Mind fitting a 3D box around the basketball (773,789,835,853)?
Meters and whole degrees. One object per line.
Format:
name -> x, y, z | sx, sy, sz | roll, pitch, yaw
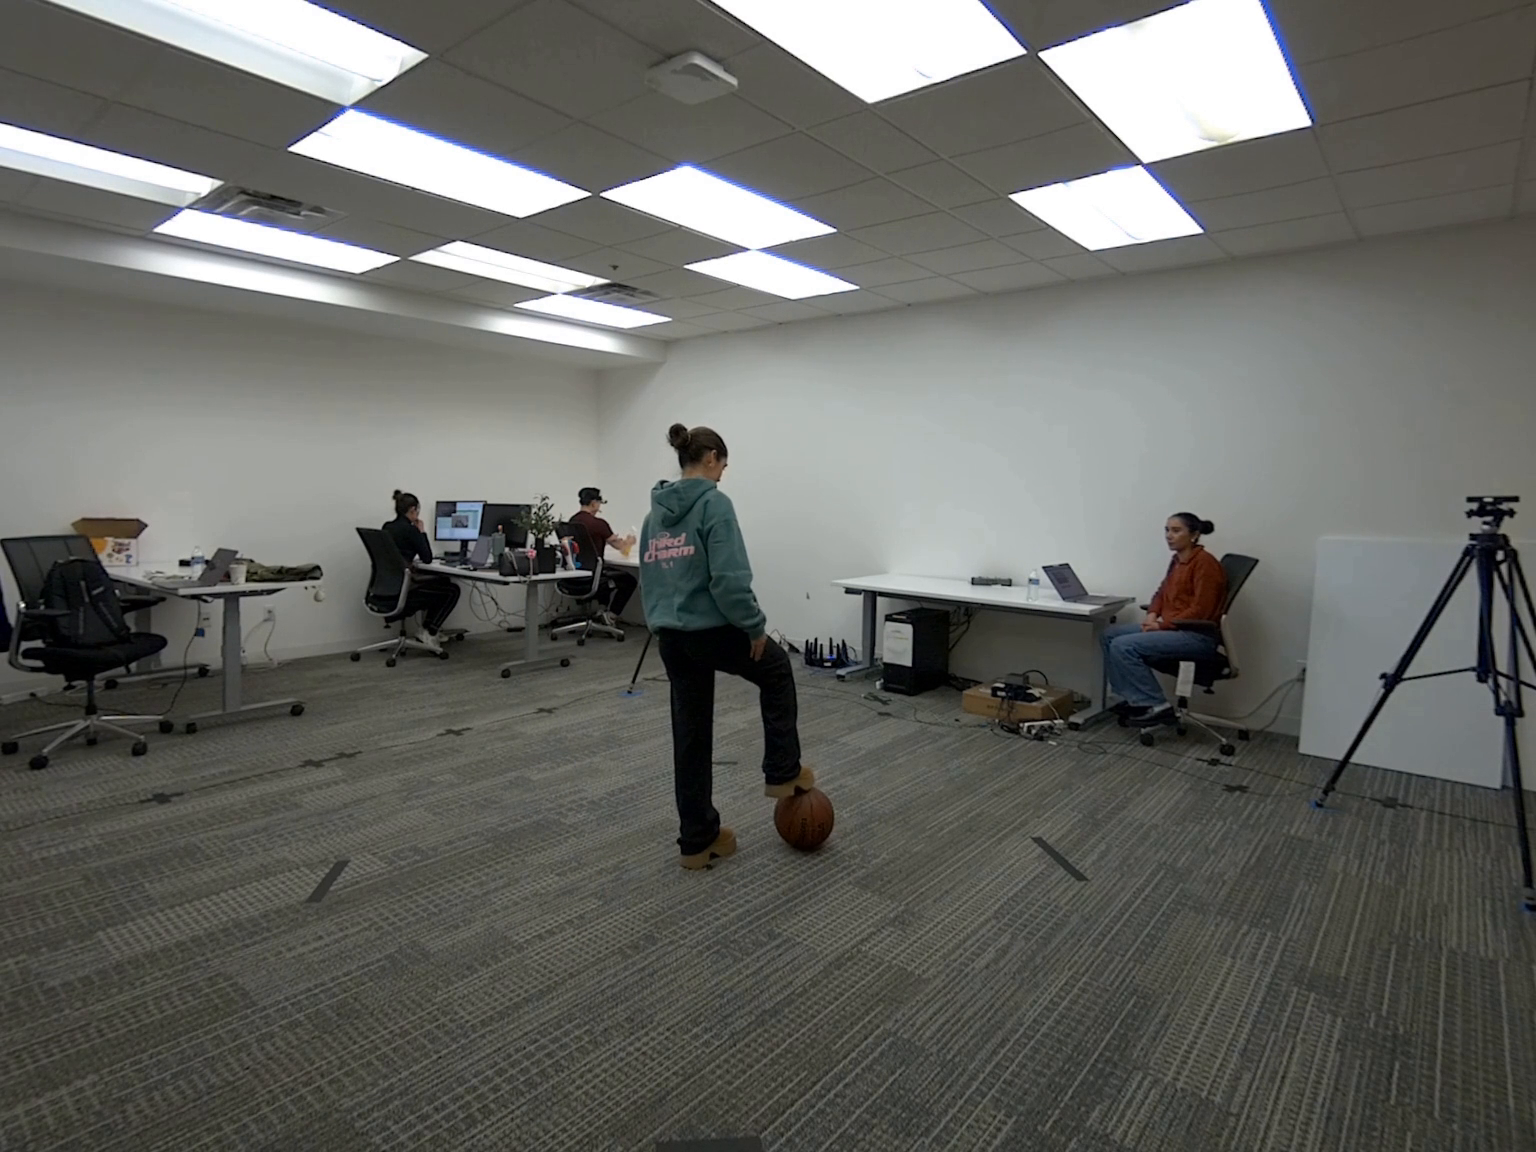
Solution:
basketball -> 0.136, 0.932, 3.314 | 0.236, 0.235, 0.237 | 1, 4, -2
